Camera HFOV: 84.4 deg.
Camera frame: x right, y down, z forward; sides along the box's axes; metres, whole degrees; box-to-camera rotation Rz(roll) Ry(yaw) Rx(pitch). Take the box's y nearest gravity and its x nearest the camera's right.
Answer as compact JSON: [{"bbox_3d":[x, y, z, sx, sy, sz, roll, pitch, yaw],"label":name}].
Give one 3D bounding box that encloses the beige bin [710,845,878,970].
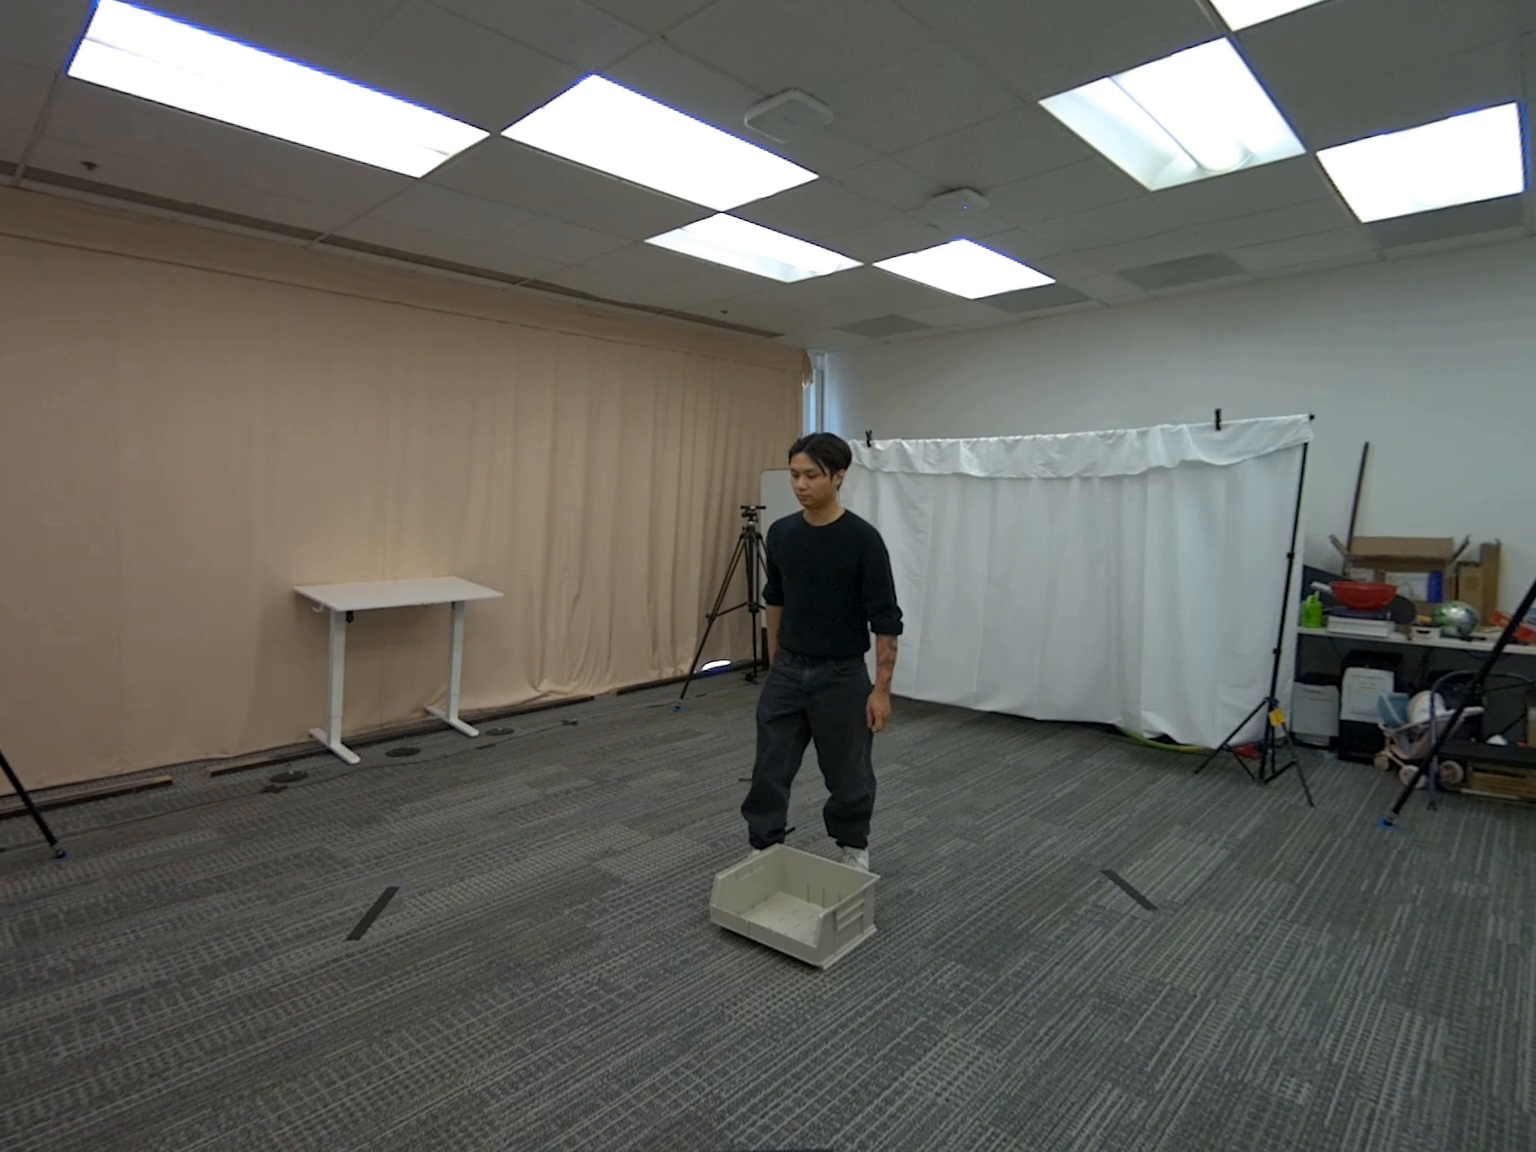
[{"bbox_3d":[0.089,1.078,2.747,0.436,0.189,0.366,2,4,39],"label":"beige bin"}]
